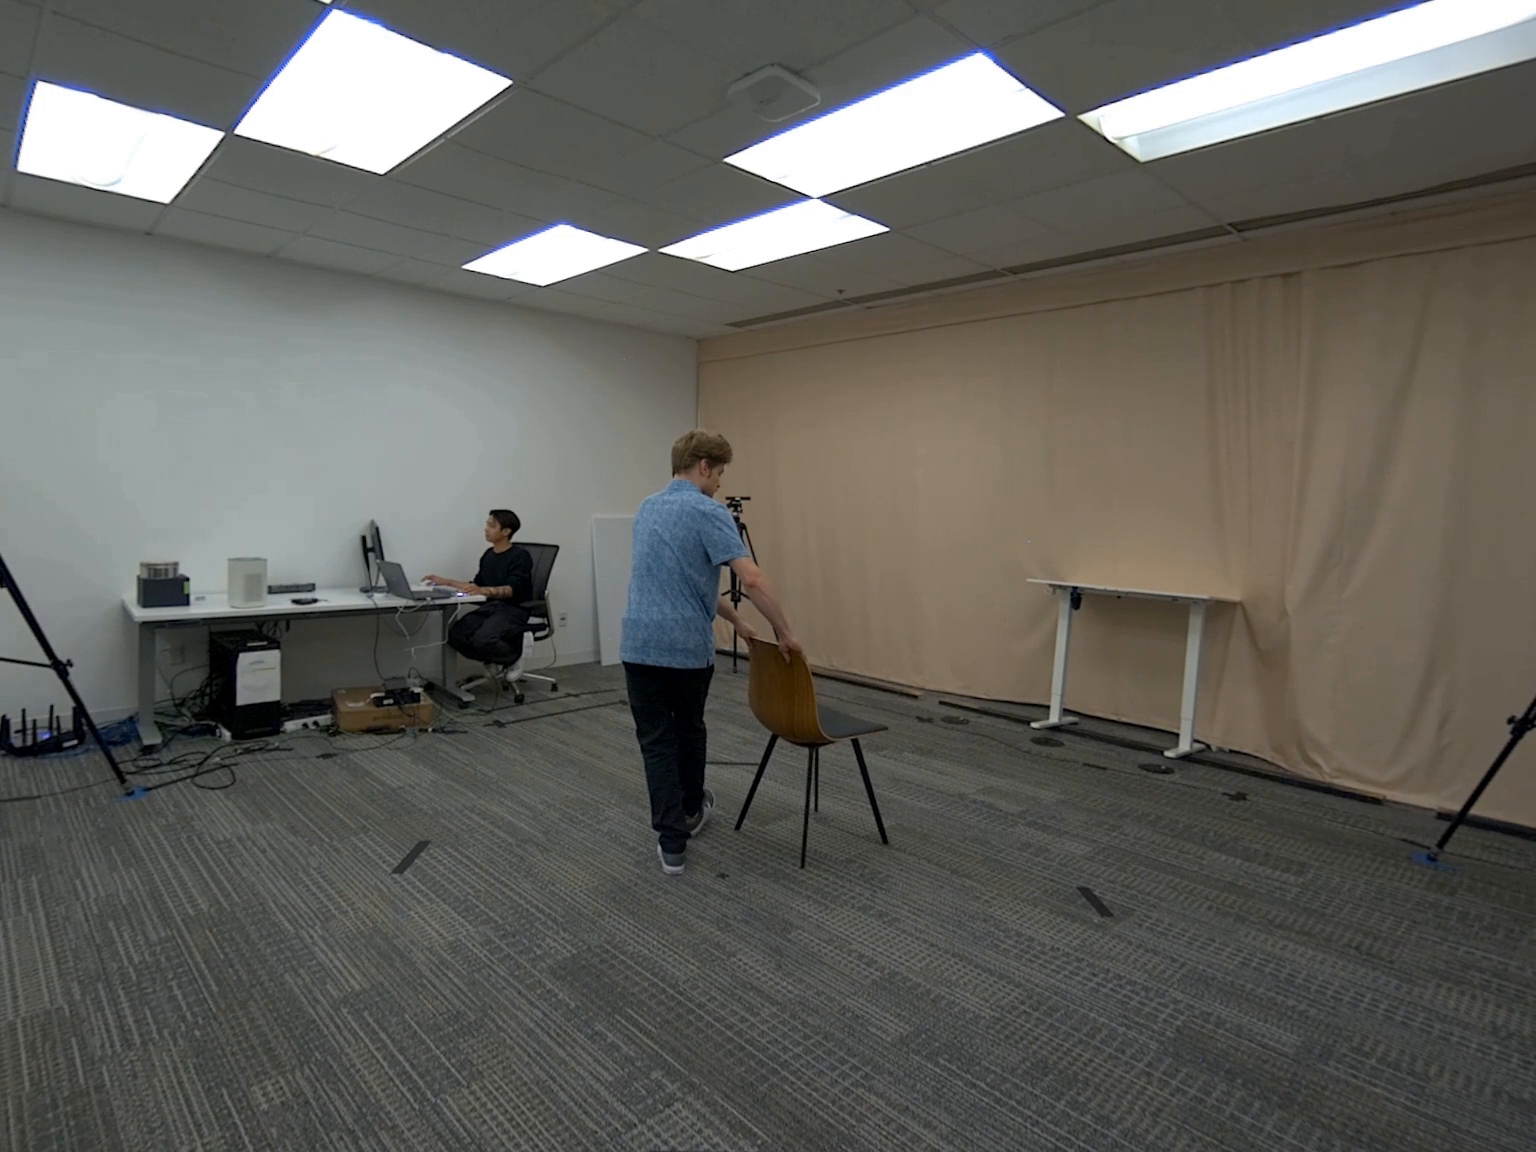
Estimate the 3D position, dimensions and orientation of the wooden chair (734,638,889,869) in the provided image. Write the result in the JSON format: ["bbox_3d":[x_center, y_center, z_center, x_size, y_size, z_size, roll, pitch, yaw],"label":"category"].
[{"bbox_3d":[0.186,0.653,3.464,0.513,0.874,0.490,-6,7,-35],"label":"wooden chair"}]
